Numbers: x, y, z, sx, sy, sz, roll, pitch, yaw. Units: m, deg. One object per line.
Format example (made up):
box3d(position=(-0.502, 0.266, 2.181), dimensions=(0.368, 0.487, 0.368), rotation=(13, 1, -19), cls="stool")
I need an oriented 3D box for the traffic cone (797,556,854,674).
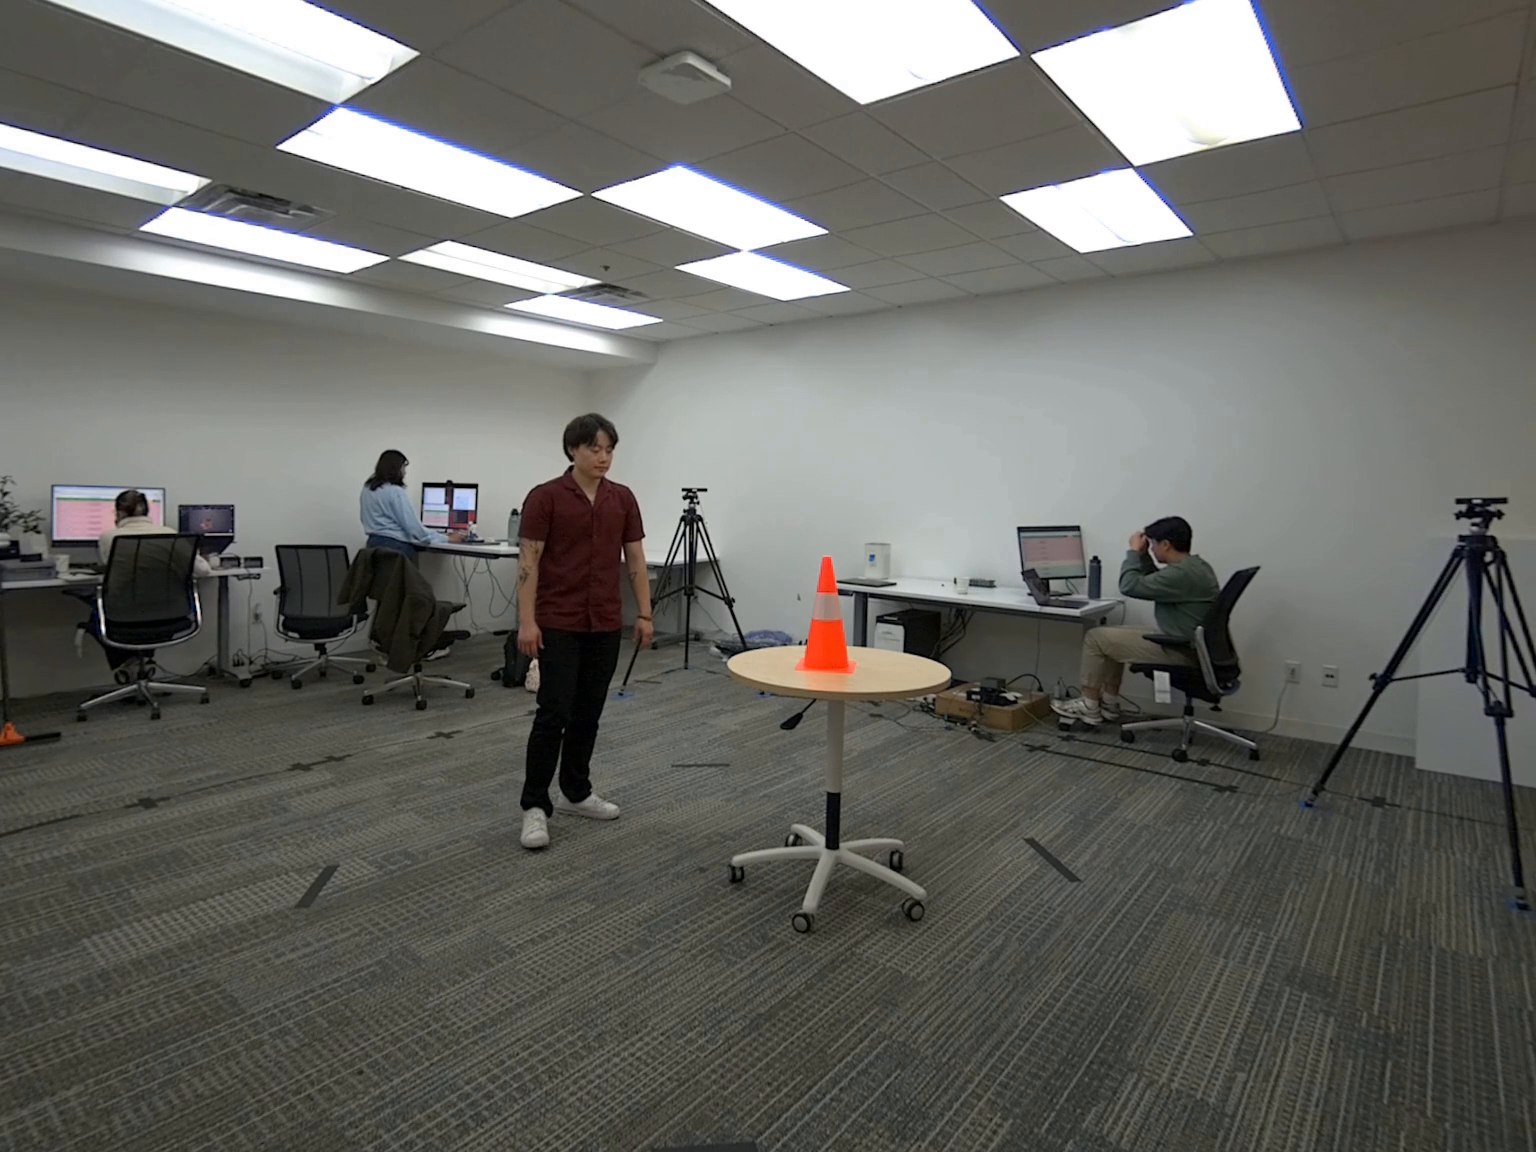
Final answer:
box3d(position=(0.200, 0.124, 2.938), dimensions=(0.208, 0.382, 0.201), rotation=(2, 5, 14), cls="traffic cone")
